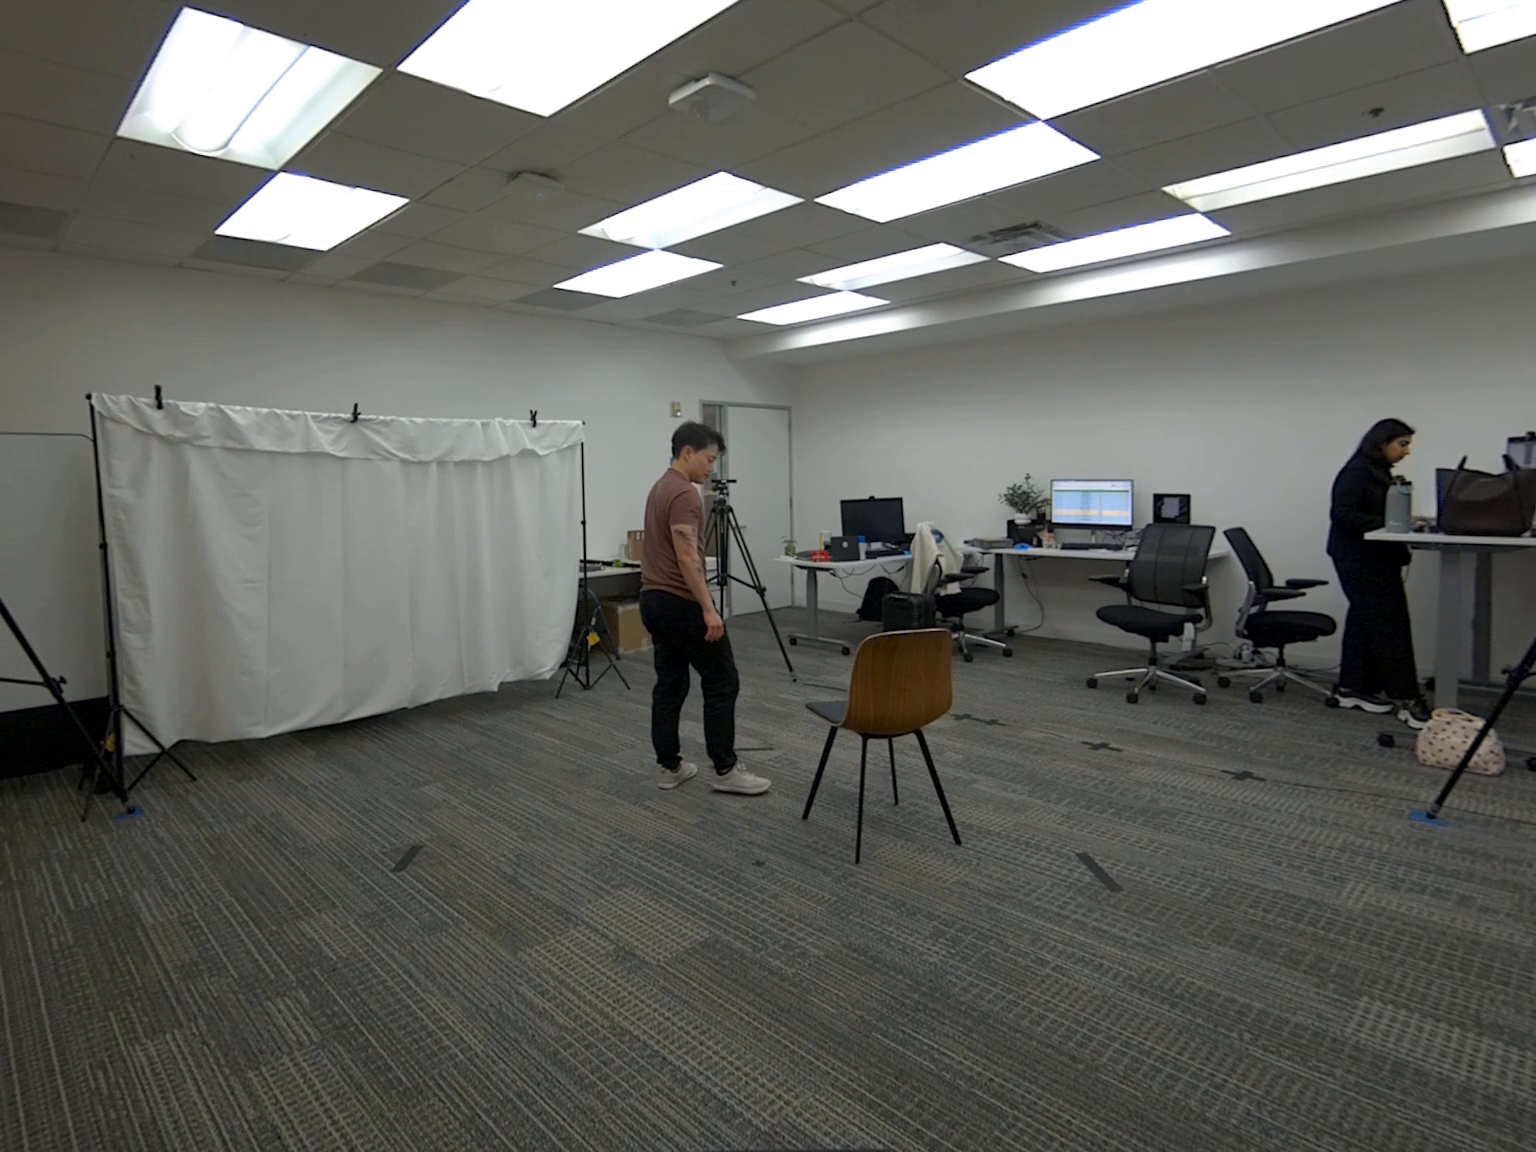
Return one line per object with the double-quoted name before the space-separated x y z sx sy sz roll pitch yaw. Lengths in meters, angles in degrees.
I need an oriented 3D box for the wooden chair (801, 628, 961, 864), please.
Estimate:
"wooden chair" 0.423 0.584 3.354 0.469 0.871 0.537 -3 8 -22
